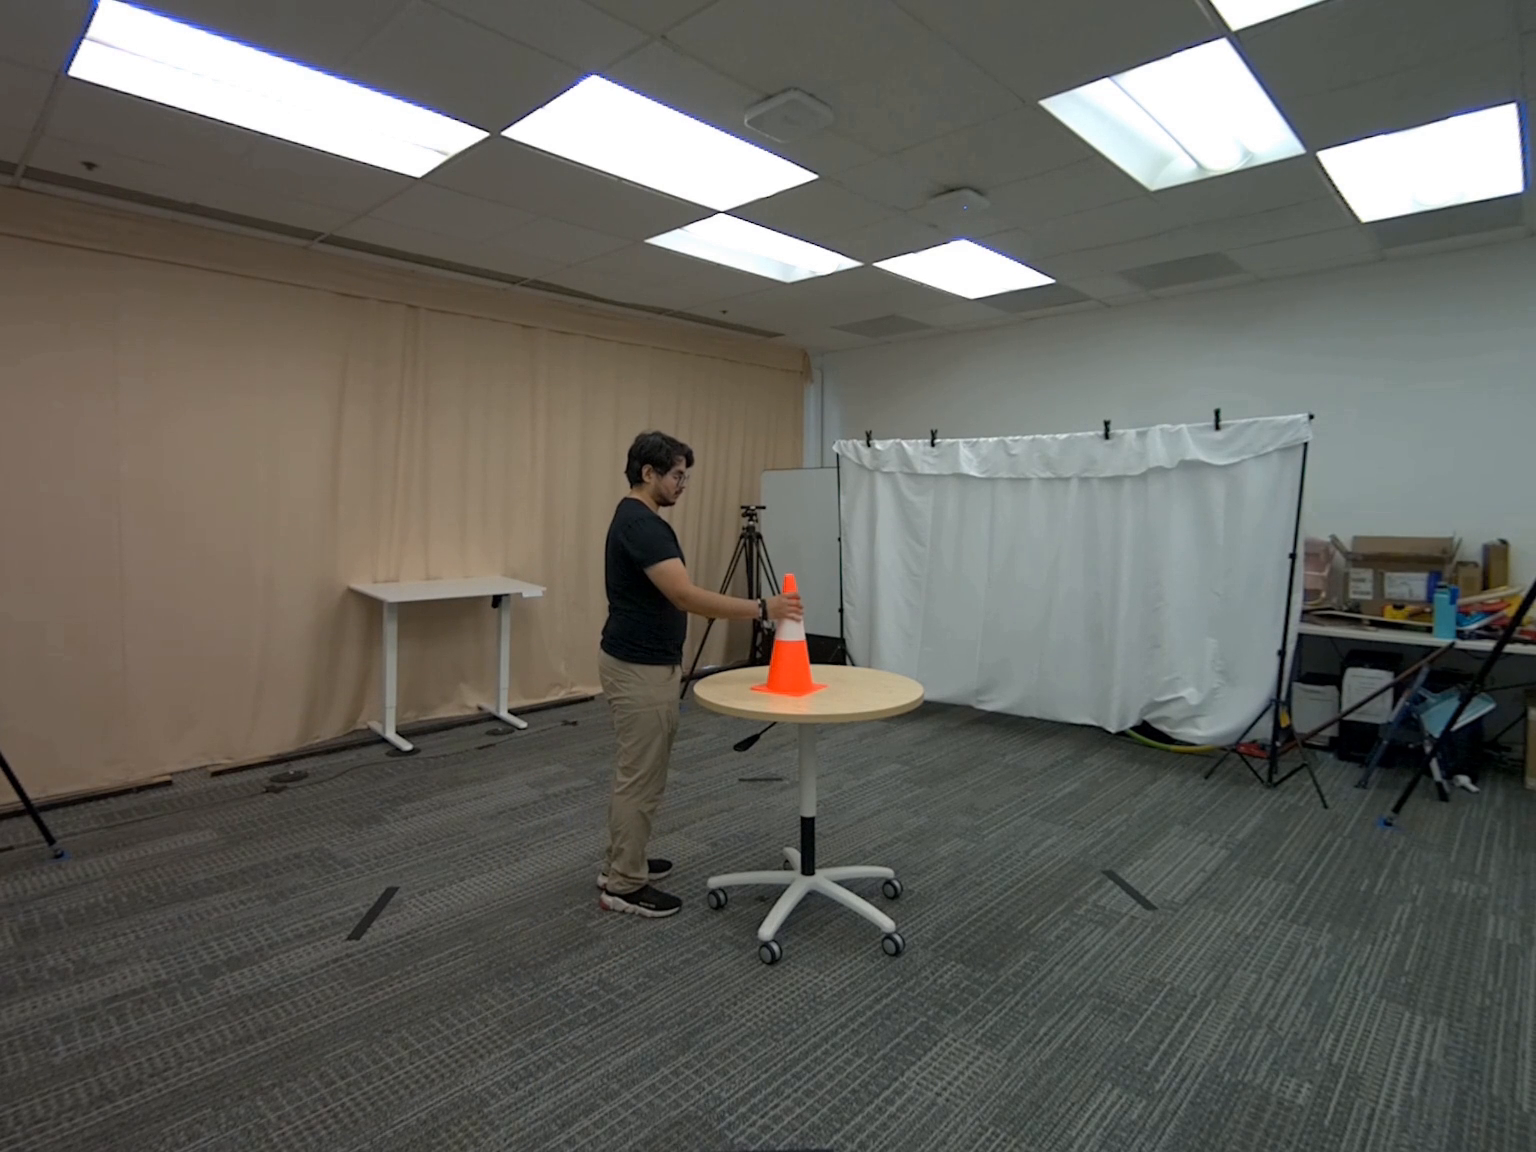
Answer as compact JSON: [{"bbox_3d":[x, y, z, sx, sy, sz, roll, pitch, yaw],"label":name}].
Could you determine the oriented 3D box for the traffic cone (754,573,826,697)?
[{"bbox_3d":[0.078,0.188,2.803,0.211,0.383,0.198,3,3,31],"label":"traffic cone"}]
